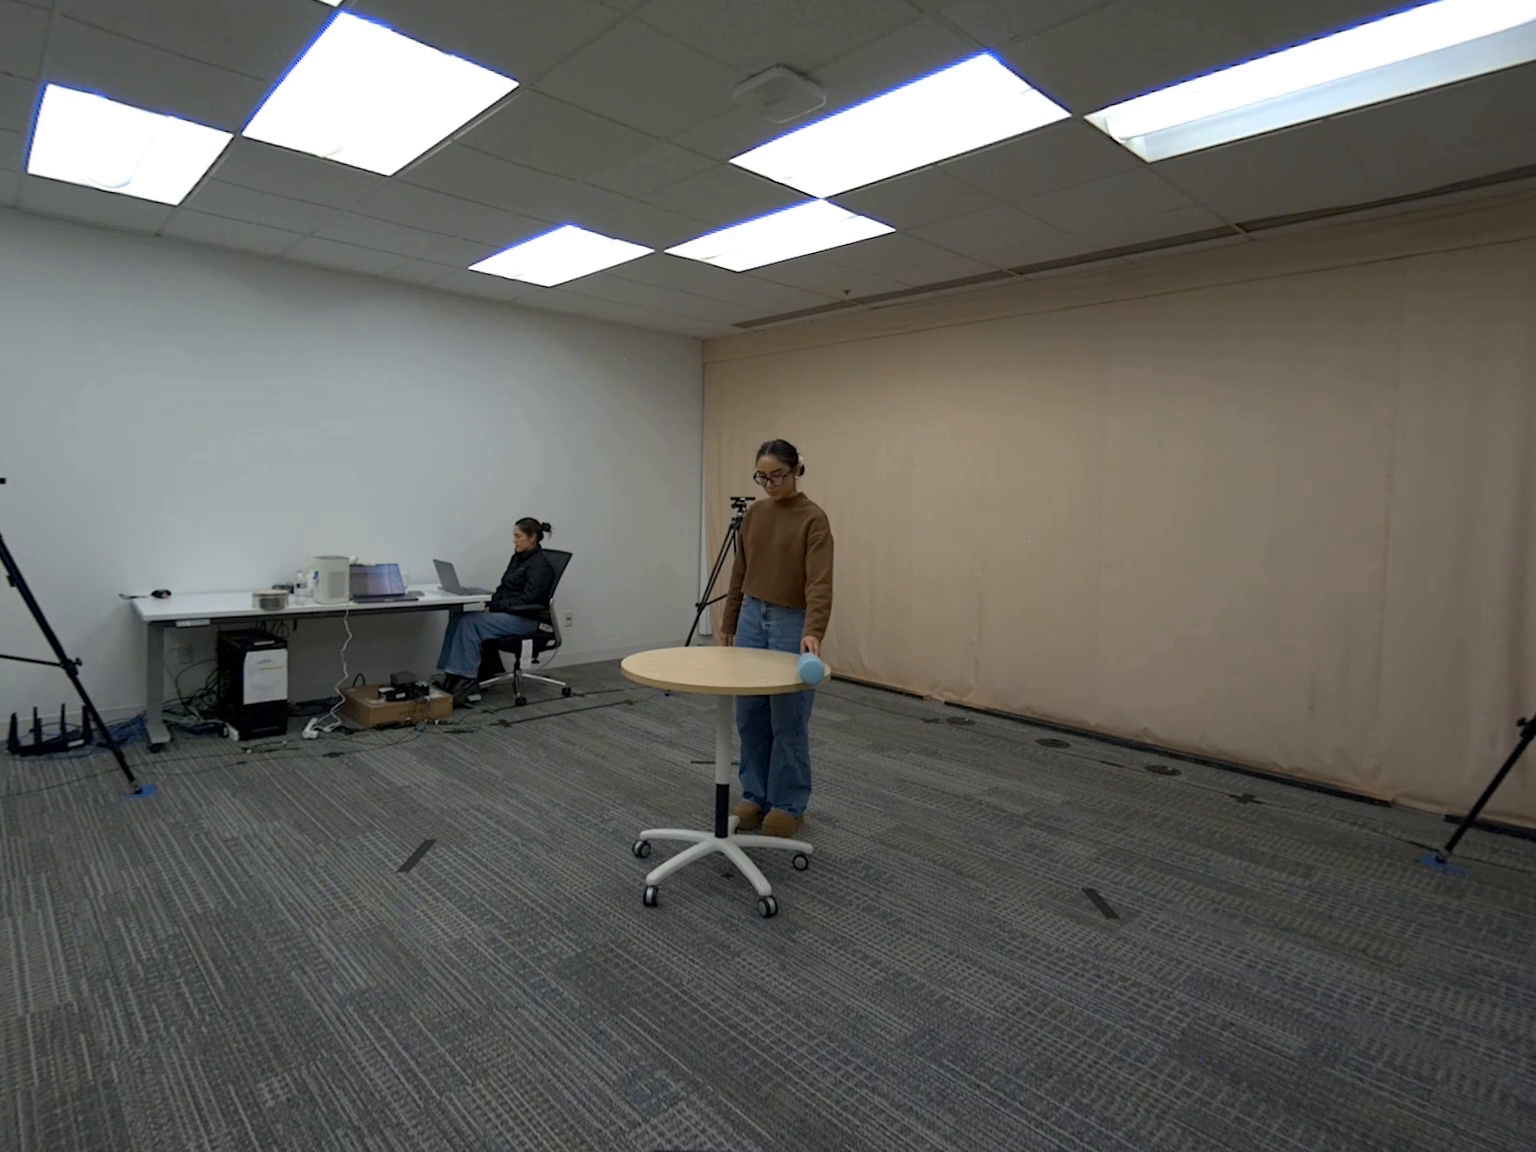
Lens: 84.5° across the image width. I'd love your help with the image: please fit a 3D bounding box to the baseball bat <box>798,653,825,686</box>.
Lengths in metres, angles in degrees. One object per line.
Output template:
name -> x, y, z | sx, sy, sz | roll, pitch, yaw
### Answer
baseball bat -> 0.136, 0.311, 2.984 | 0.089, 0.089, 0.541 | 2, 1, 3
